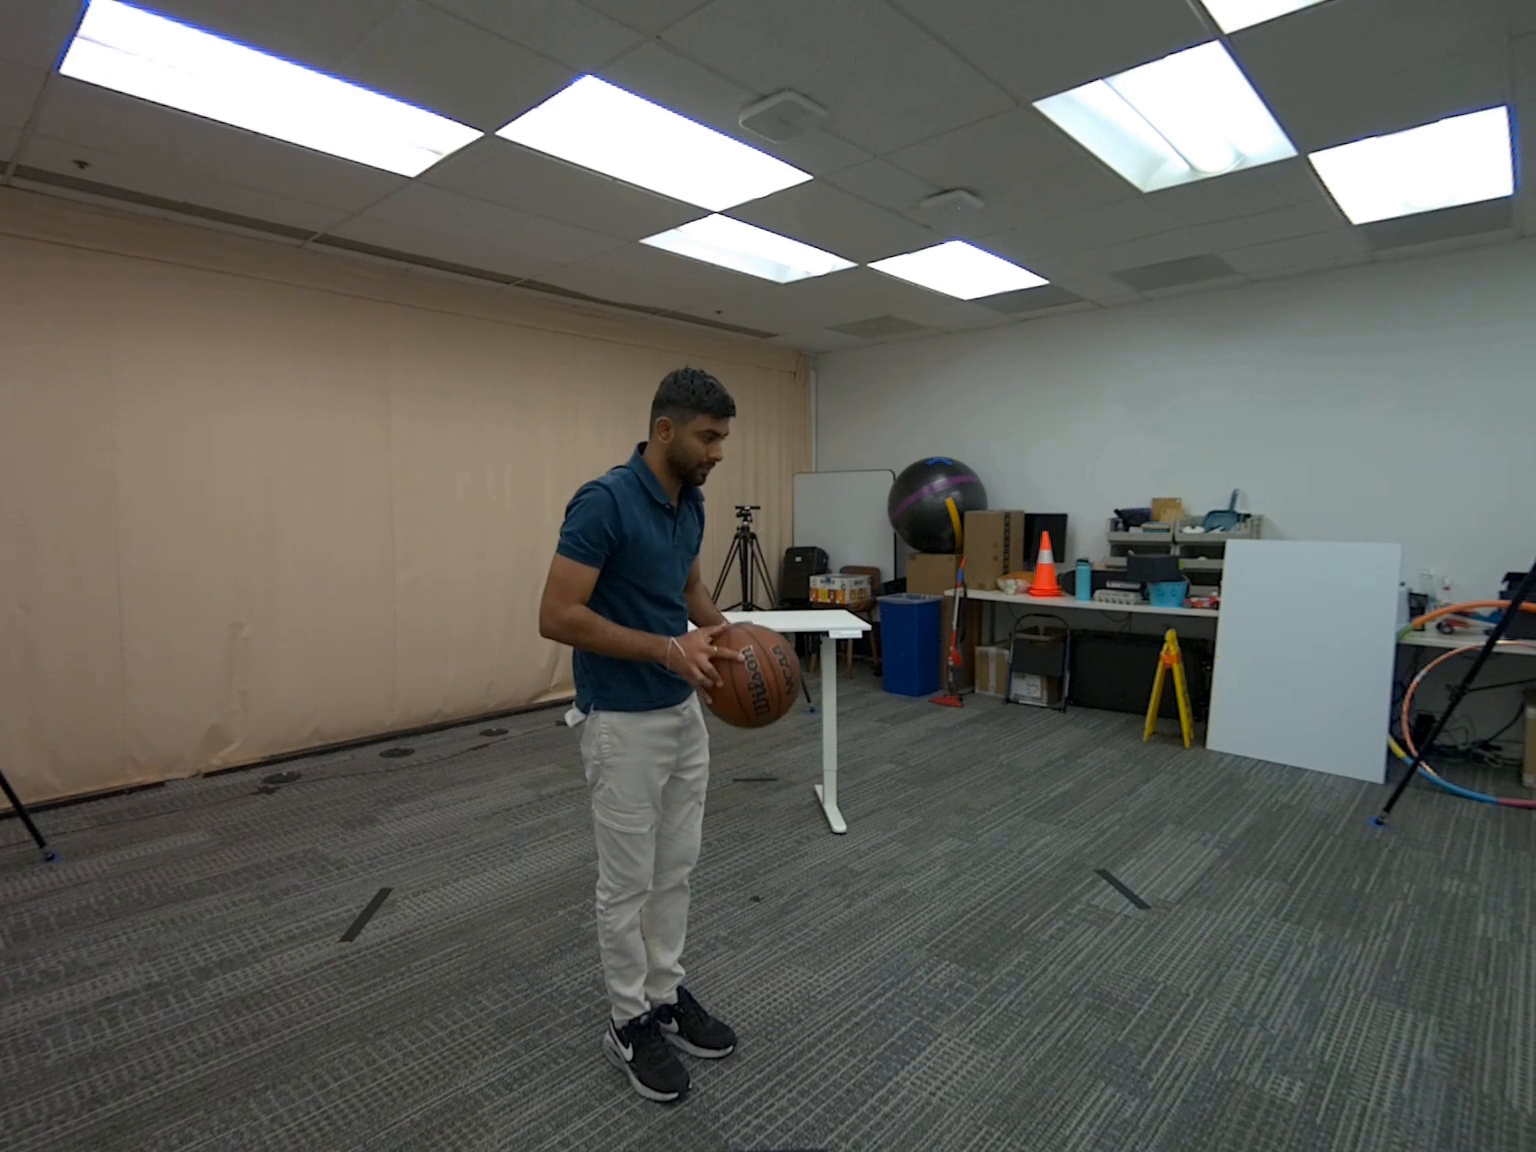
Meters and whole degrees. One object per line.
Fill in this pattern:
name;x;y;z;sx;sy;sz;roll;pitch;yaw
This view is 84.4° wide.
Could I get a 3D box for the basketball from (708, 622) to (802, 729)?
basketball;-0.038;0.239;1.926;0.236;0.235;0.237;0;4;-2
